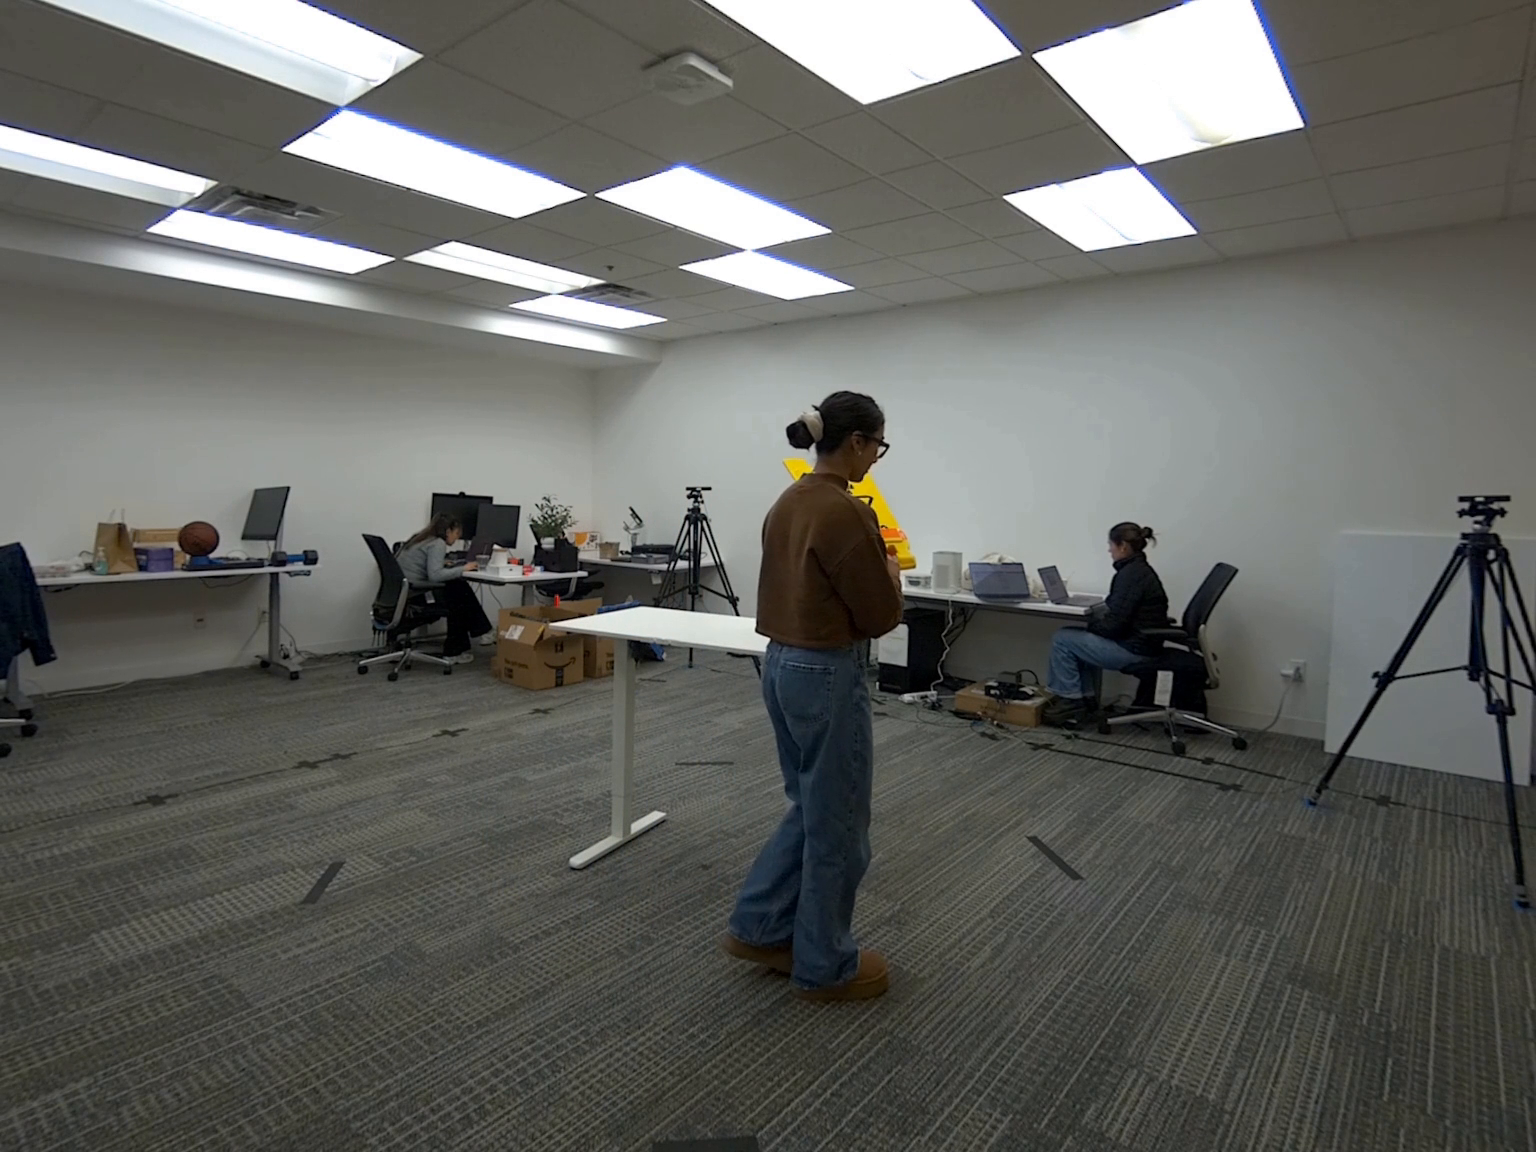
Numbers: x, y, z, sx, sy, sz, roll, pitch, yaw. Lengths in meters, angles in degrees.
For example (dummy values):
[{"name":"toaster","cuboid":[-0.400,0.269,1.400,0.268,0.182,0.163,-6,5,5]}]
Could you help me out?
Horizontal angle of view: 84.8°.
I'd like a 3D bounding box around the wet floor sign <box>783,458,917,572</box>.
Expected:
[{"name":"wet floor sign","cuboid":[0.279,-0.161,2.722,0.279,0.284,0.668,-6,25,-14]}]
